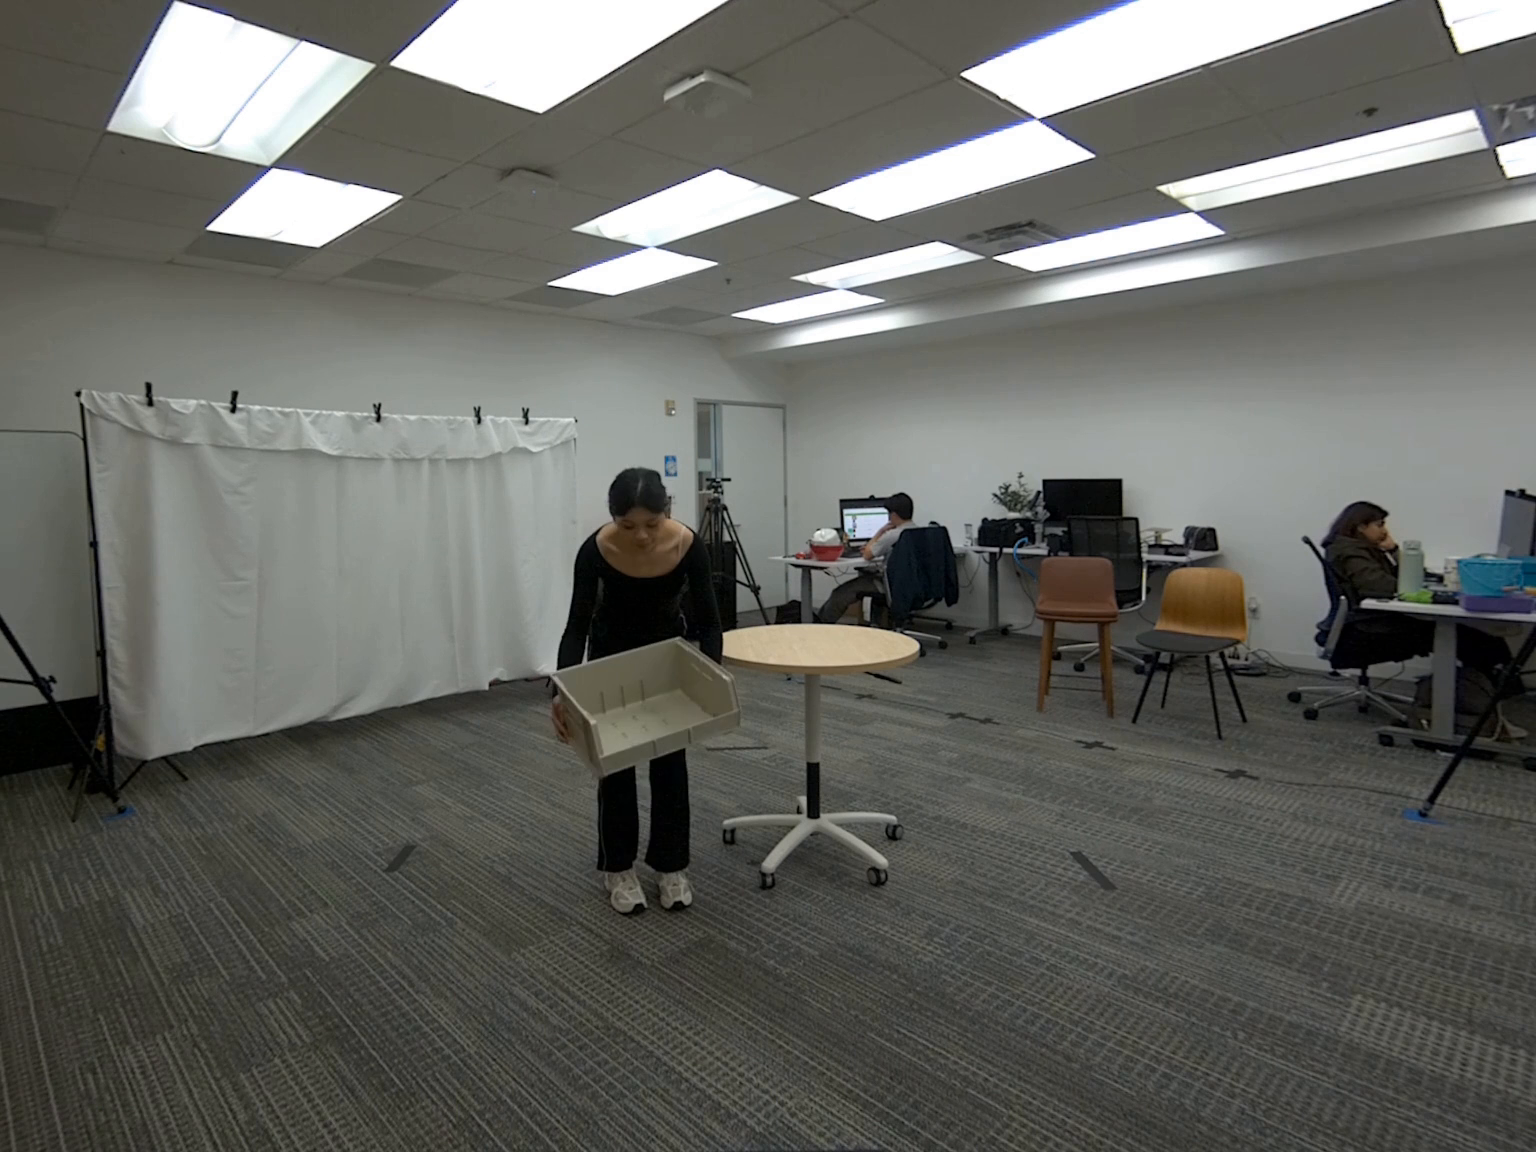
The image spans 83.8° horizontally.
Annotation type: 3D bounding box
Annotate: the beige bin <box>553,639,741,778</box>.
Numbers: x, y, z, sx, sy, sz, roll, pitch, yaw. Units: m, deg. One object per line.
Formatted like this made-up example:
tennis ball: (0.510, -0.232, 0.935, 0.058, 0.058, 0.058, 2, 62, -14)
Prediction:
beige bin: (-0.347, 0.371, 2.409, 0.415, 0.186, 0.390, -14, 19, -28)
